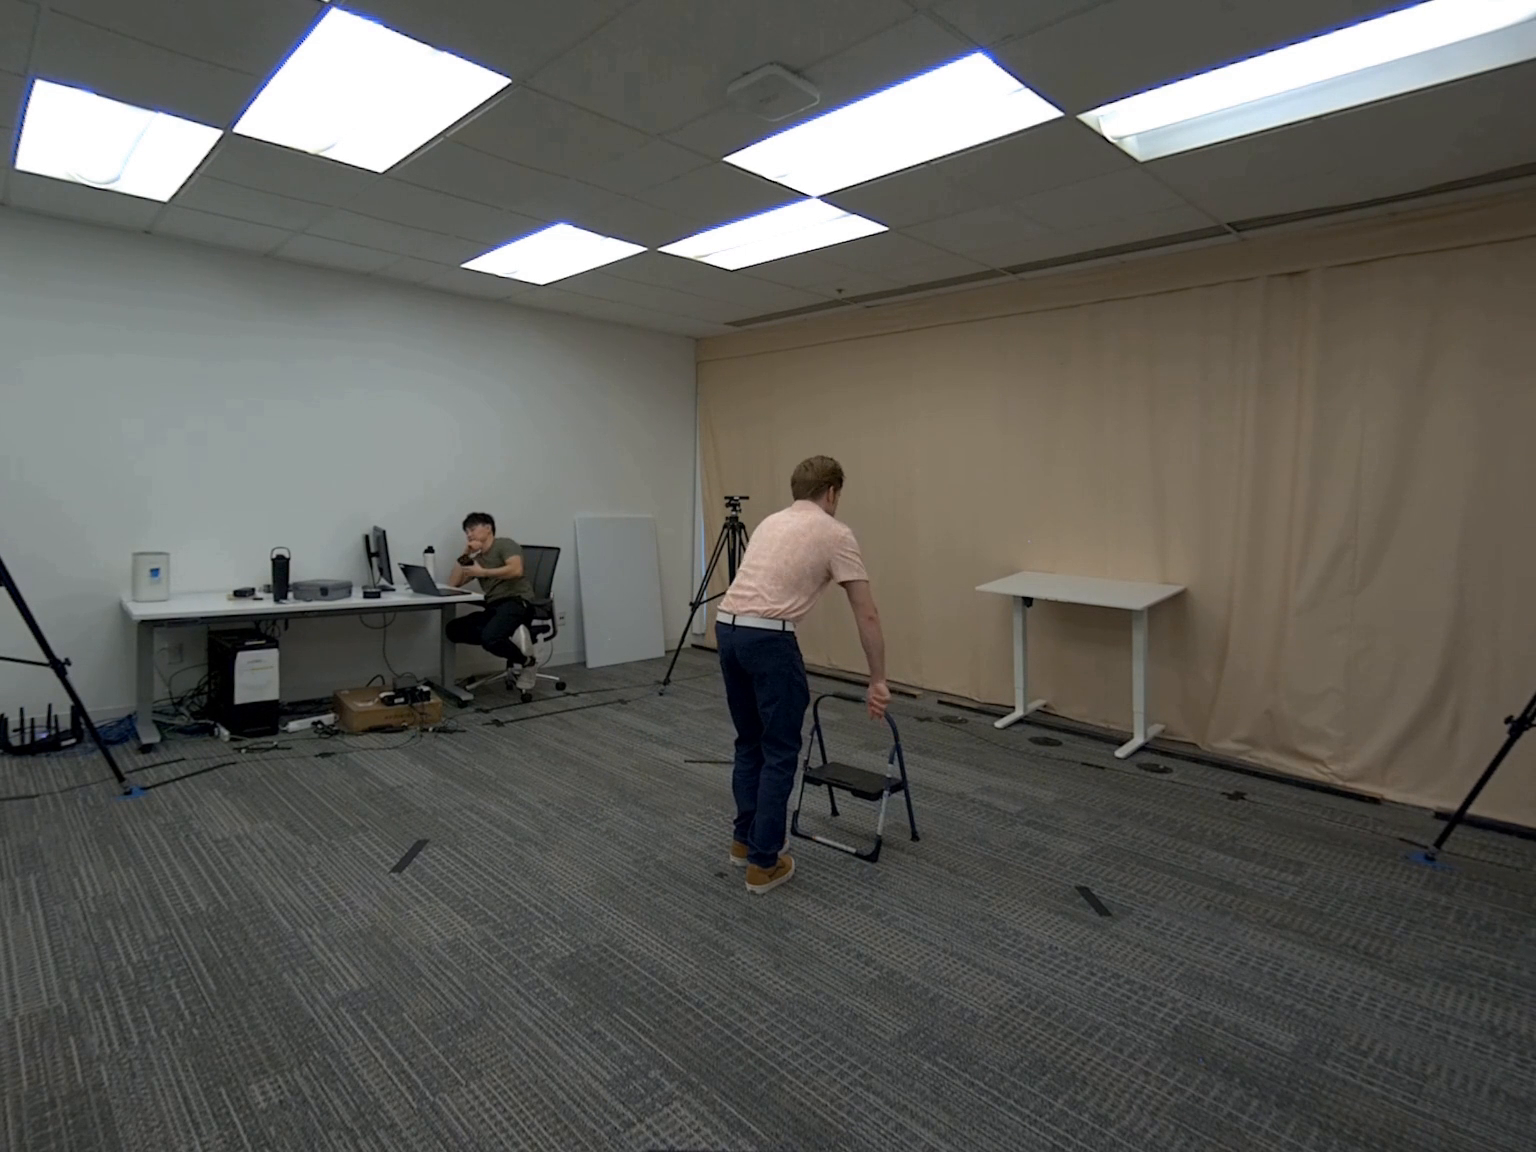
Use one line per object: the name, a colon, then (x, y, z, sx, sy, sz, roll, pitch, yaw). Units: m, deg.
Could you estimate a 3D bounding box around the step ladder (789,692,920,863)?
step ladder: (0.358, 0.780, 3.482, 0.441, 0.605, 0.341, 4, 4, 39)
